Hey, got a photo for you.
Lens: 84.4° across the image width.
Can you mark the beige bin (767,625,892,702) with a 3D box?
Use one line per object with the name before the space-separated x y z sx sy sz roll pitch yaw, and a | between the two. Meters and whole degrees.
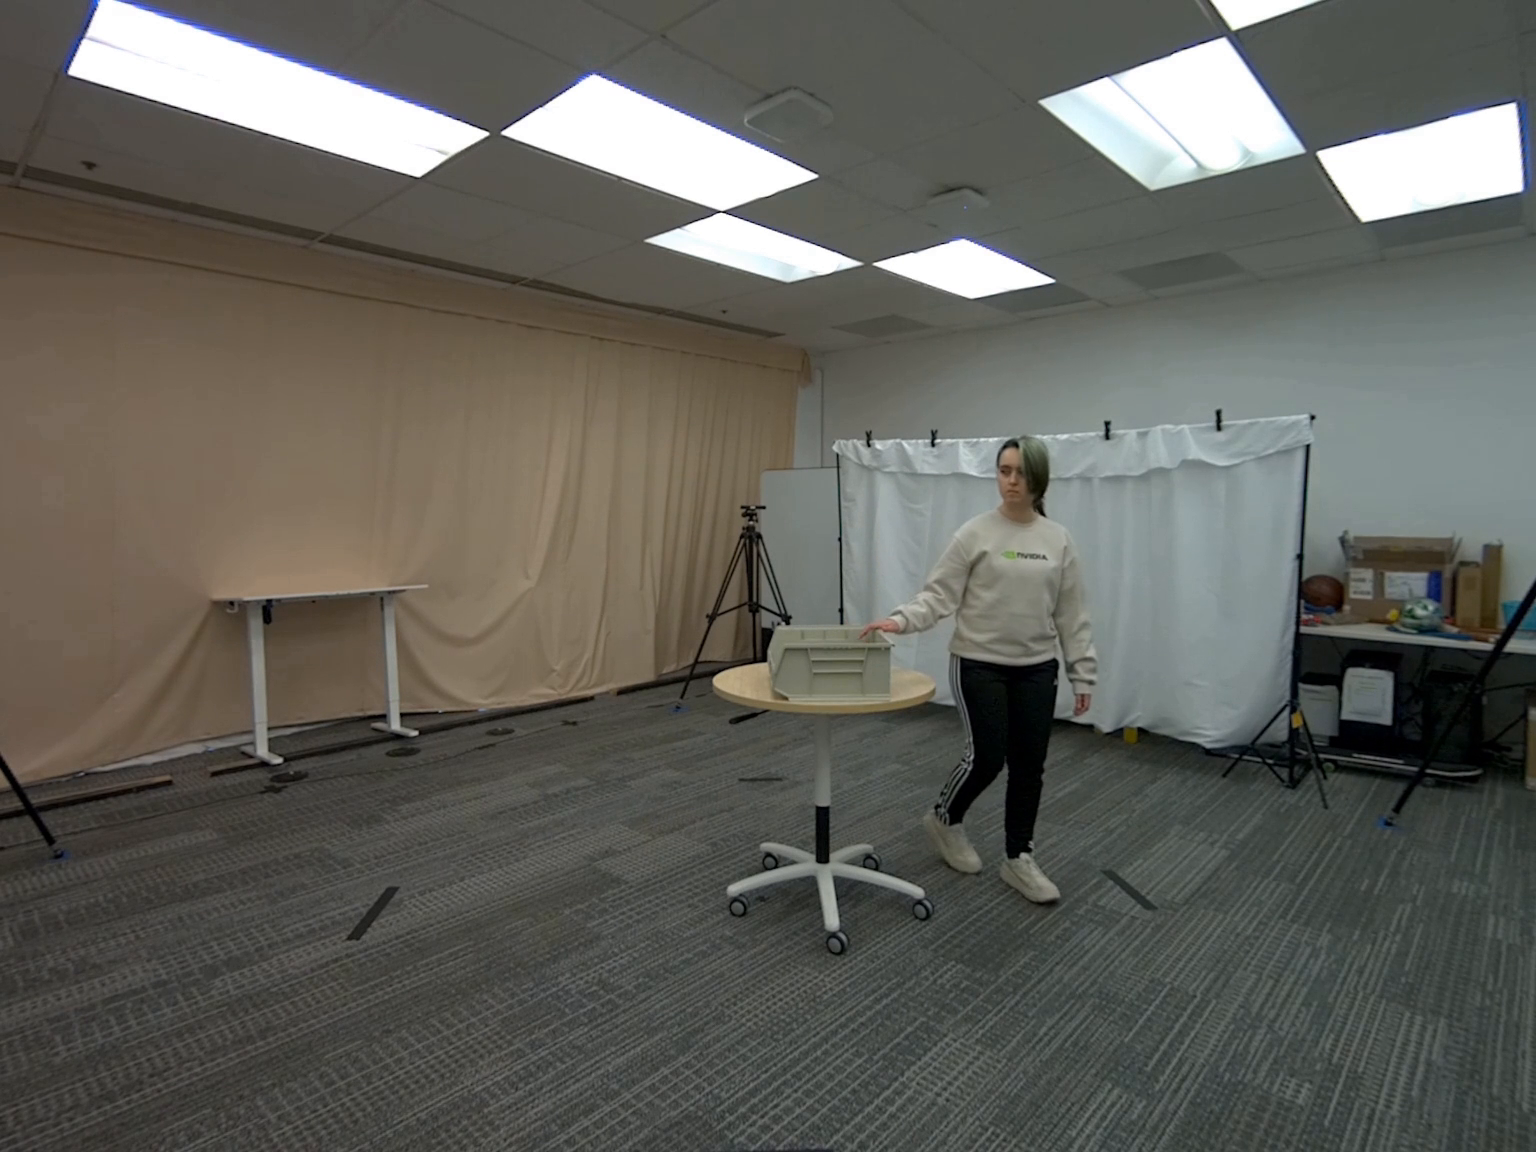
beige bin | 0.201 0.280 2.801 0.379 0.188 0.421 1 4 2
